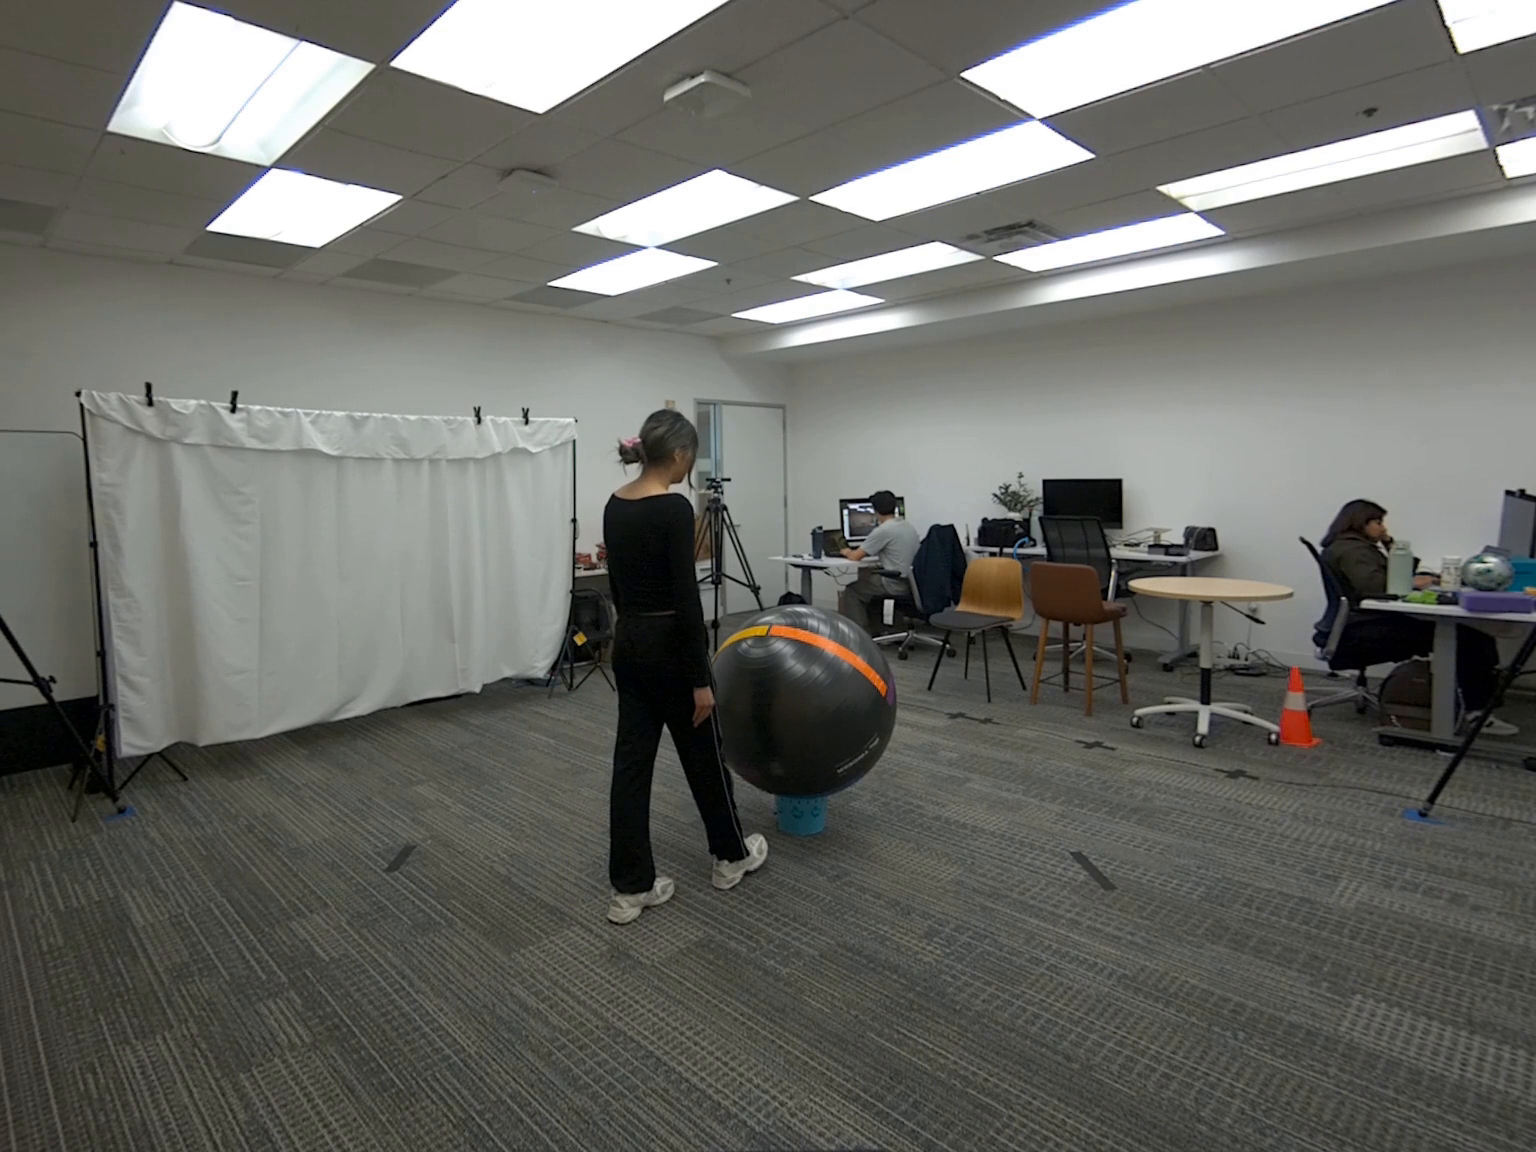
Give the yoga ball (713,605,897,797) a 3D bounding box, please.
[{"bbox_3d":[0.126,0.500,3.411,0.757,0.755,0.762,-1,5,-2],"label":"yoga ball"}]
